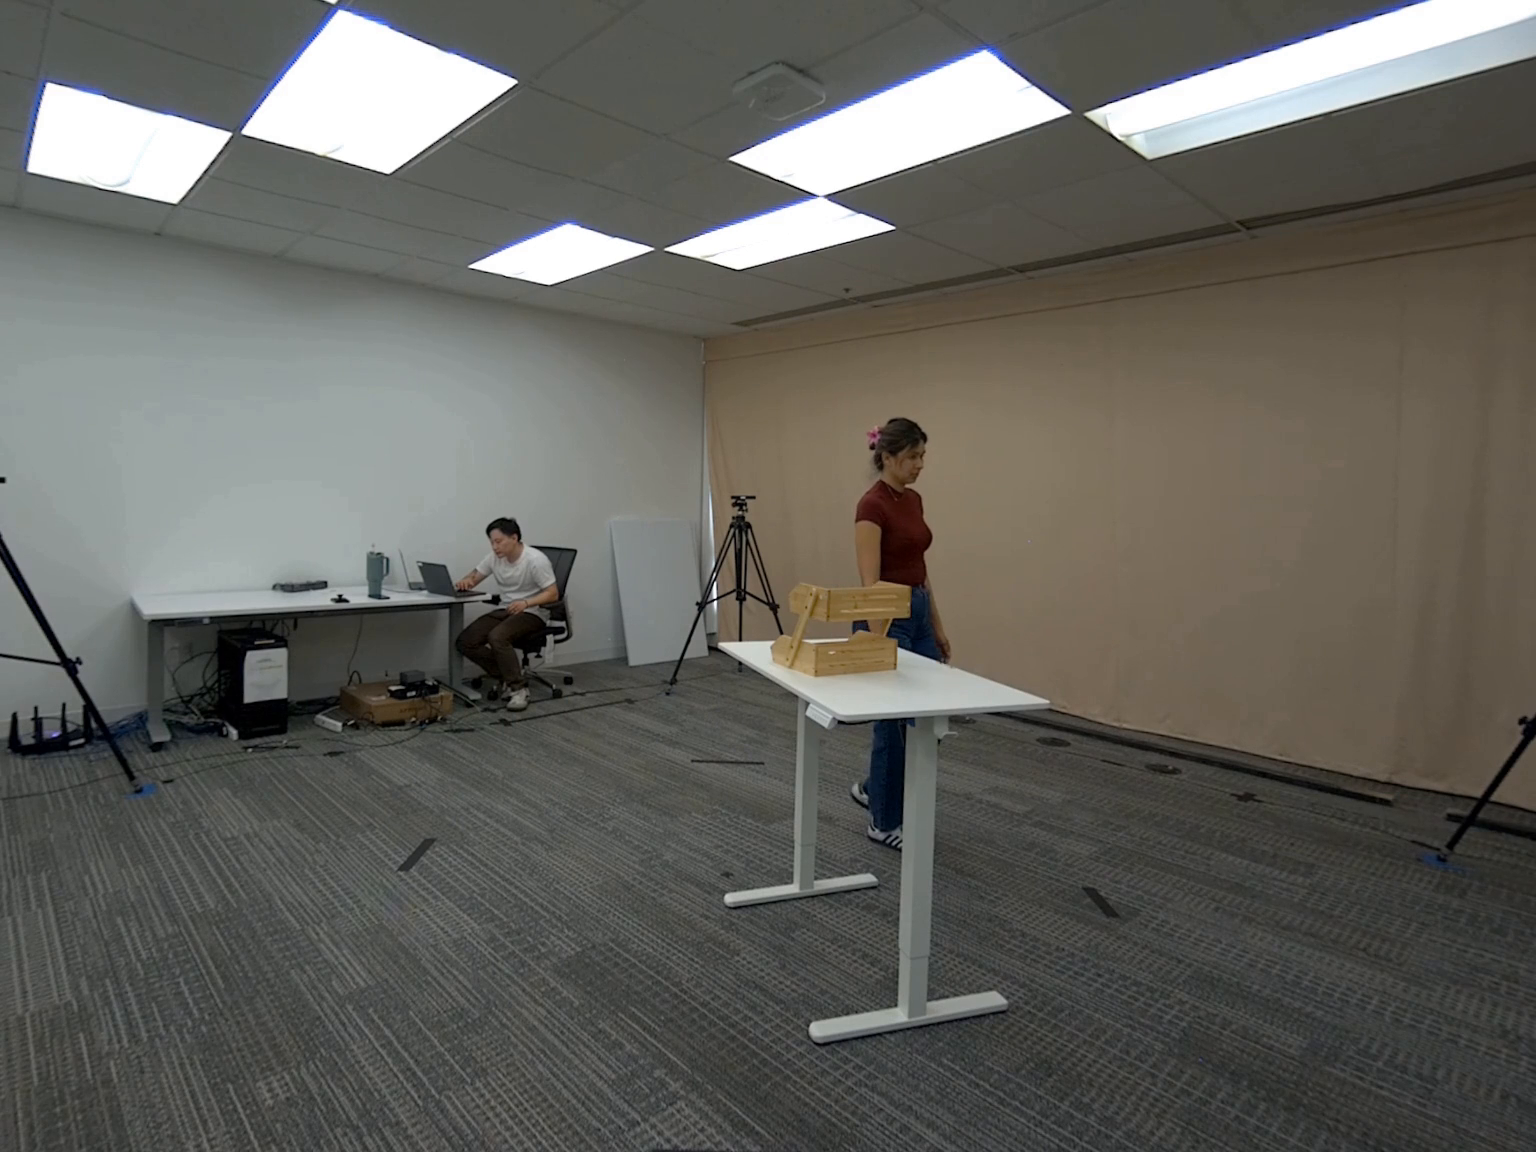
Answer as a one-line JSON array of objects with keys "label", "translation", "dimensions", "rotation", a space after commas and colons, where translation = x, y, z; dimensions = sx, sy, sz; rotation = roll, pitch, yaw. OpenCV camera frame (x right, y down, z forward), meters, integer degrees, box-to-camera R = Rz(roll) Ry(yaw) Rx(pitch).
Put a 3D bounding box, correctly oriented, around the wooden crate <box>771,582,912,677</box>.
[{"label": "wooden crate", "translation": [0.213, 0.147, 2.561], "dimensions": [0.318, 0.272, 0.309], "rotation": [-1, 6, -30]}]
